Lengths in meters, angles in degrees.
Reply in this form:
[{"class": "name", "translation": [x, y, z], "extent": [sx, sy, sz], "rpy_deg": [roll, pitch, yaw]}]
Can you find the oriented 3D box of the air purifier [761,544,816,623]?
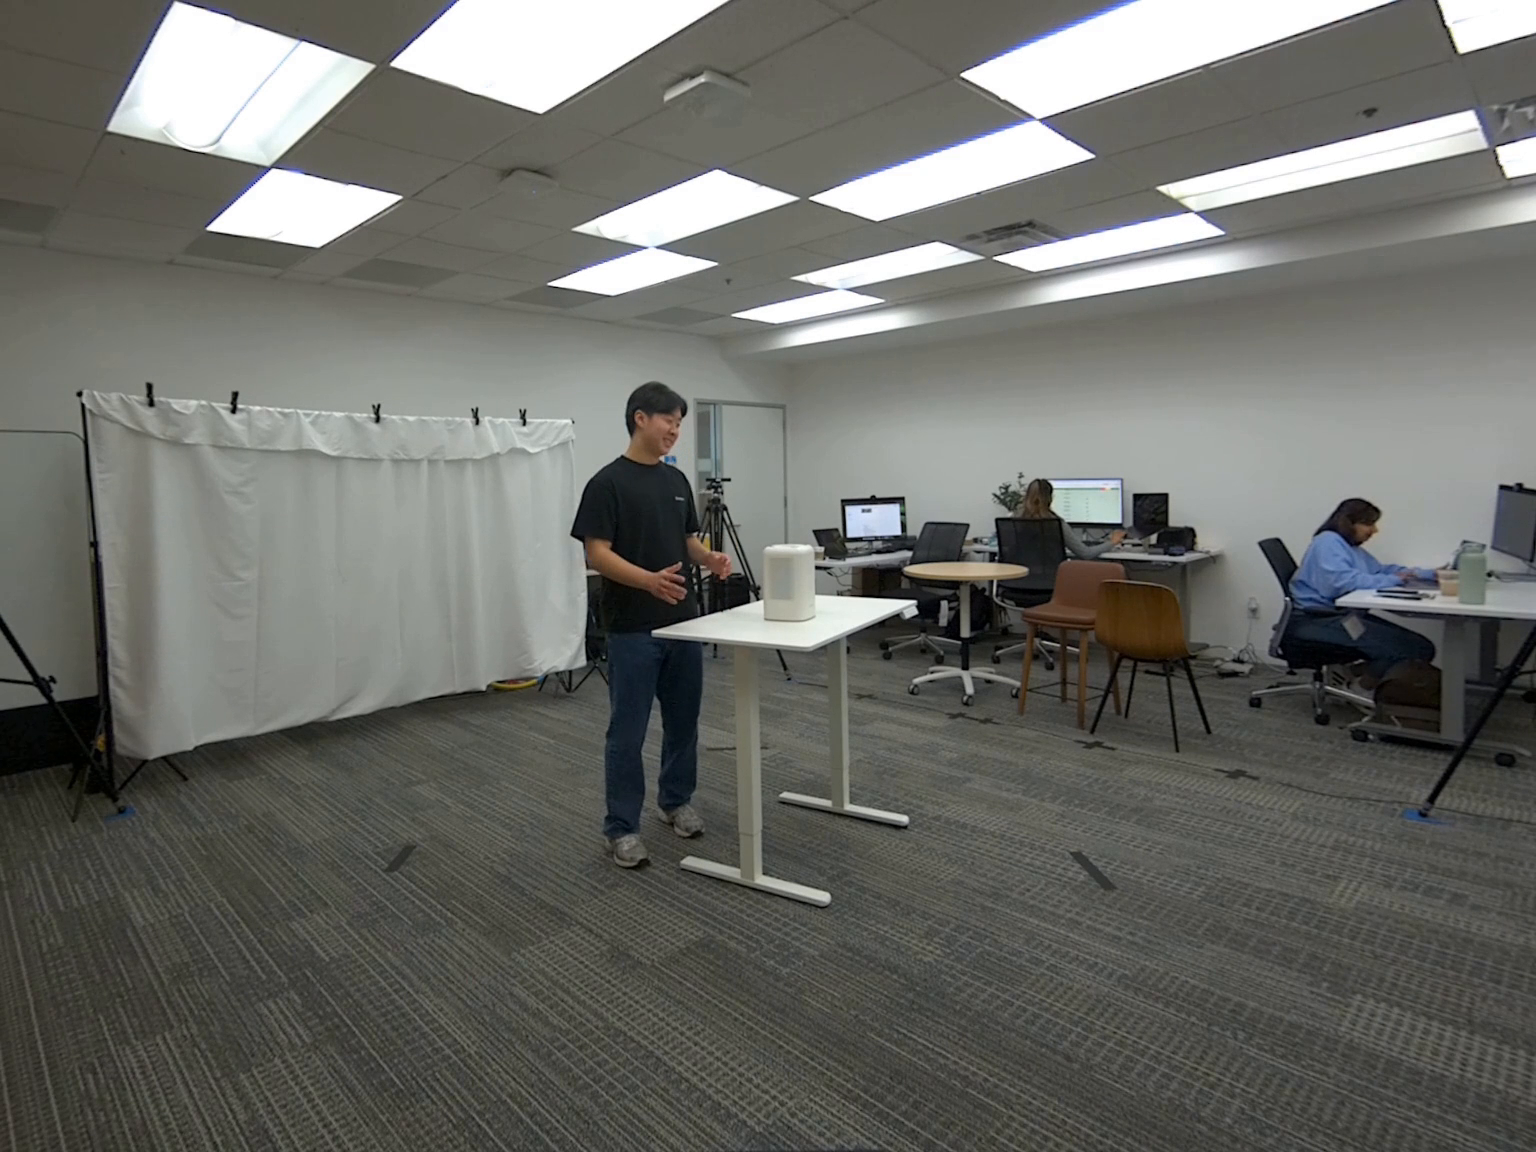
[{"class": "air purifier", "translation": [0.073, 0.021, 3.118], "extent": [0.175, 0.264, 0.168], "rpy_deg": [0, 5, 25]}]
